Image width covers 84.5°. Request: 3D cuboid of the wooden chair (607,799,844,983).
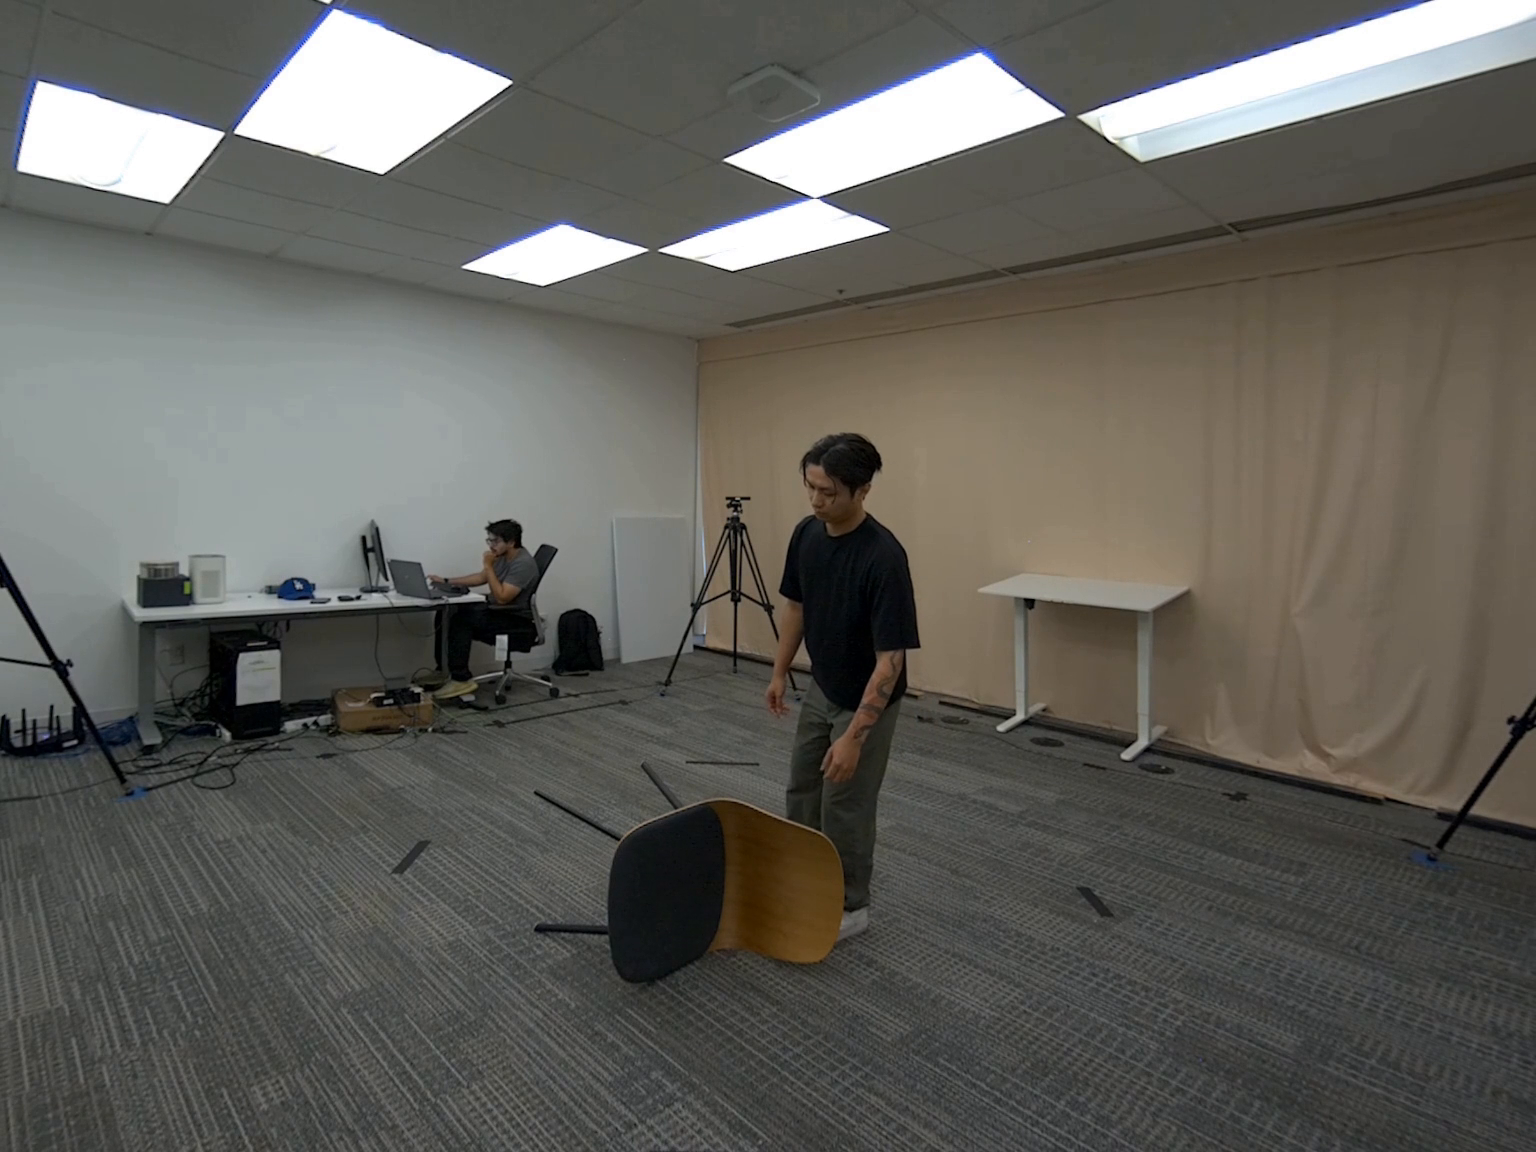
[{"bbox_3d":[-0.286,0.928,2.527,0.899,0.477,0.511,4,4,39],"label":"wooden chair"}]
